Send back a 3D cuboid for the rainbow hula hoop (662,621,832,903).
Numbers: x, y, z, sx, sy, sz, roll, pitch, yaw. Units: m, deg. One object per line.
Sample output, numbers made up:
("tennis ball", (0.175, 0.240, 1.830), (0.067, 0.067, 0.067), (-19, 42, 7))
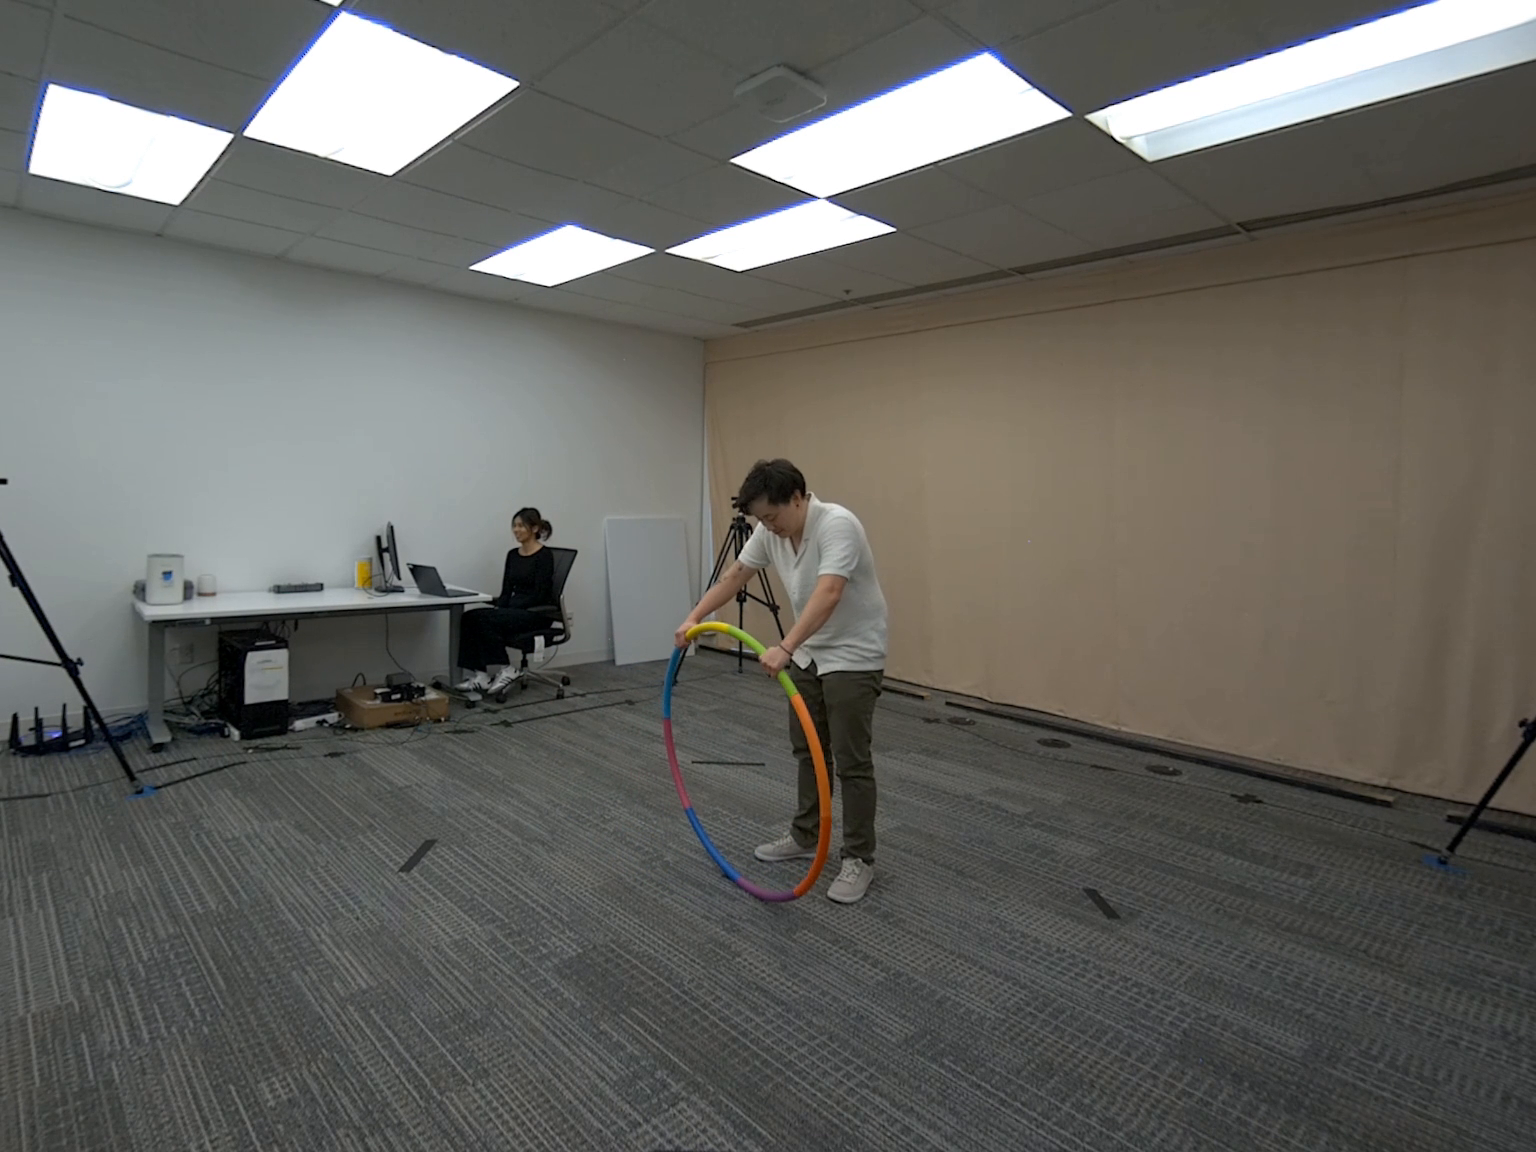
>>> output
("rainbow hula hoop", (-0.121, 0.645, 2.939), (0.035, 0.972, 1.002), (-10, 10, -34))
